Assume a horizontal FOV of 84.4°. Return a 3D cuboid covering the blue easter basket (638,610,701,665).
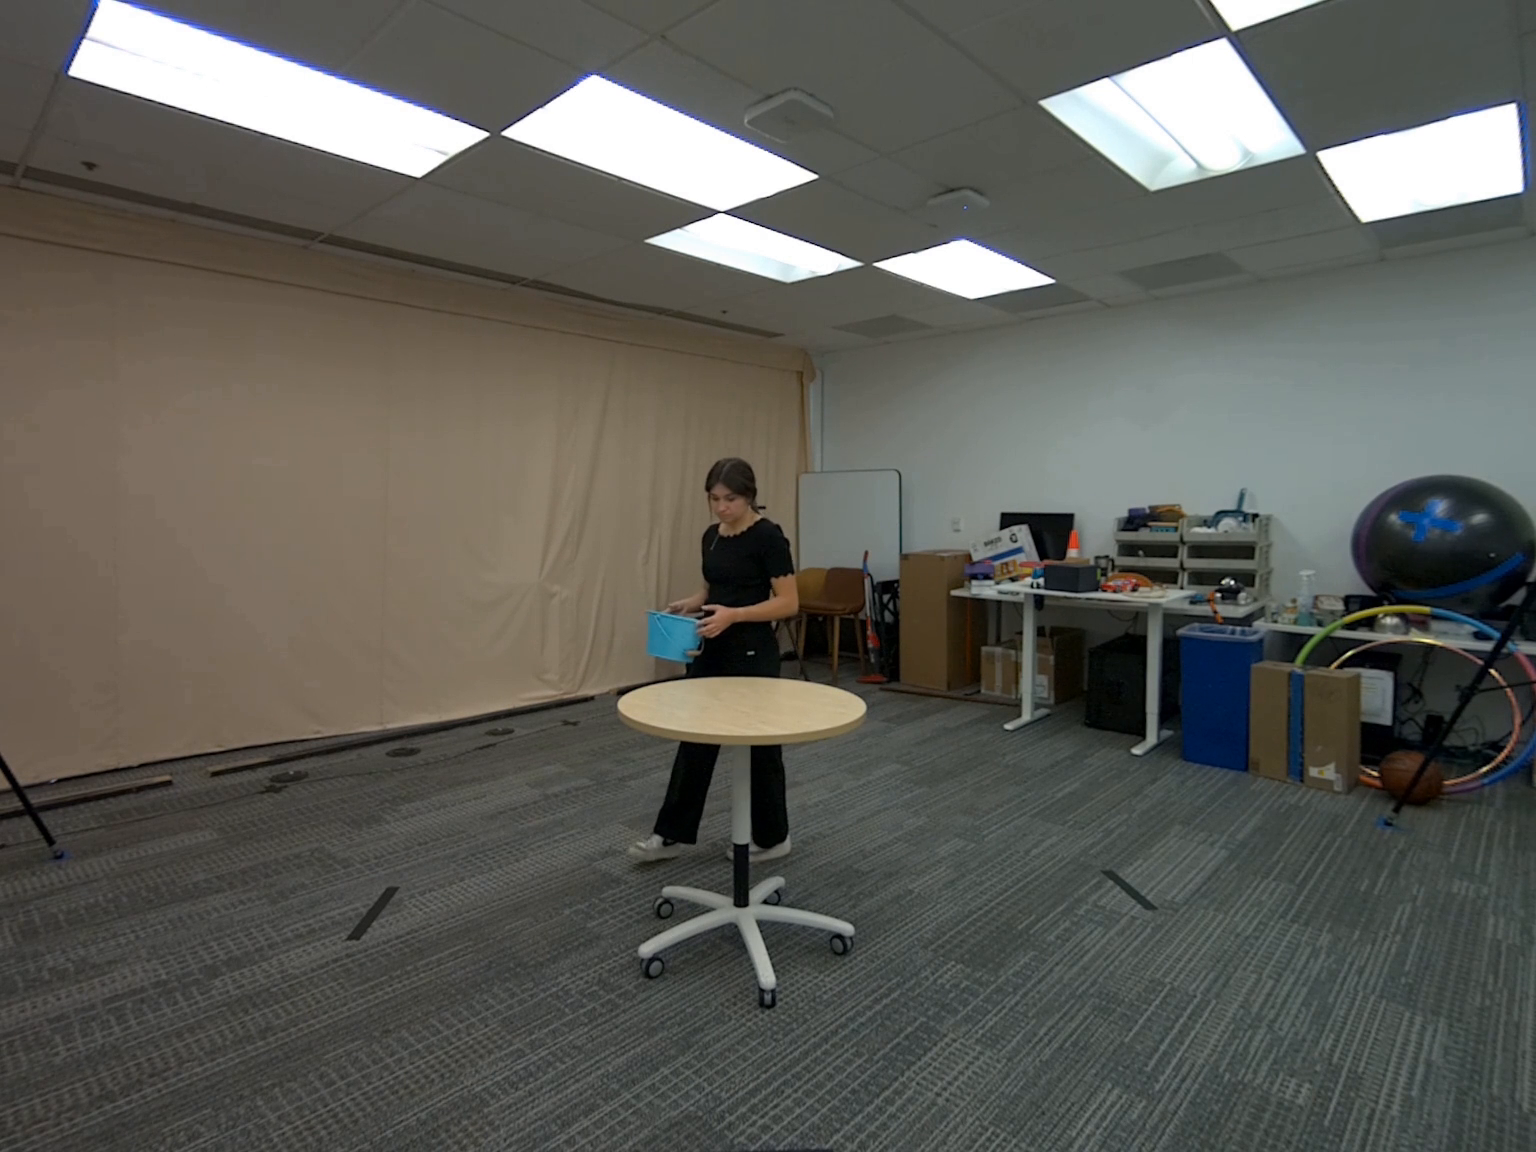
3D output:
[{"bbox_3d":[-0.333,0.226,3.110,0.243,0.156,0.243,9,-2,-1],"label":"blue easter basket"}]
